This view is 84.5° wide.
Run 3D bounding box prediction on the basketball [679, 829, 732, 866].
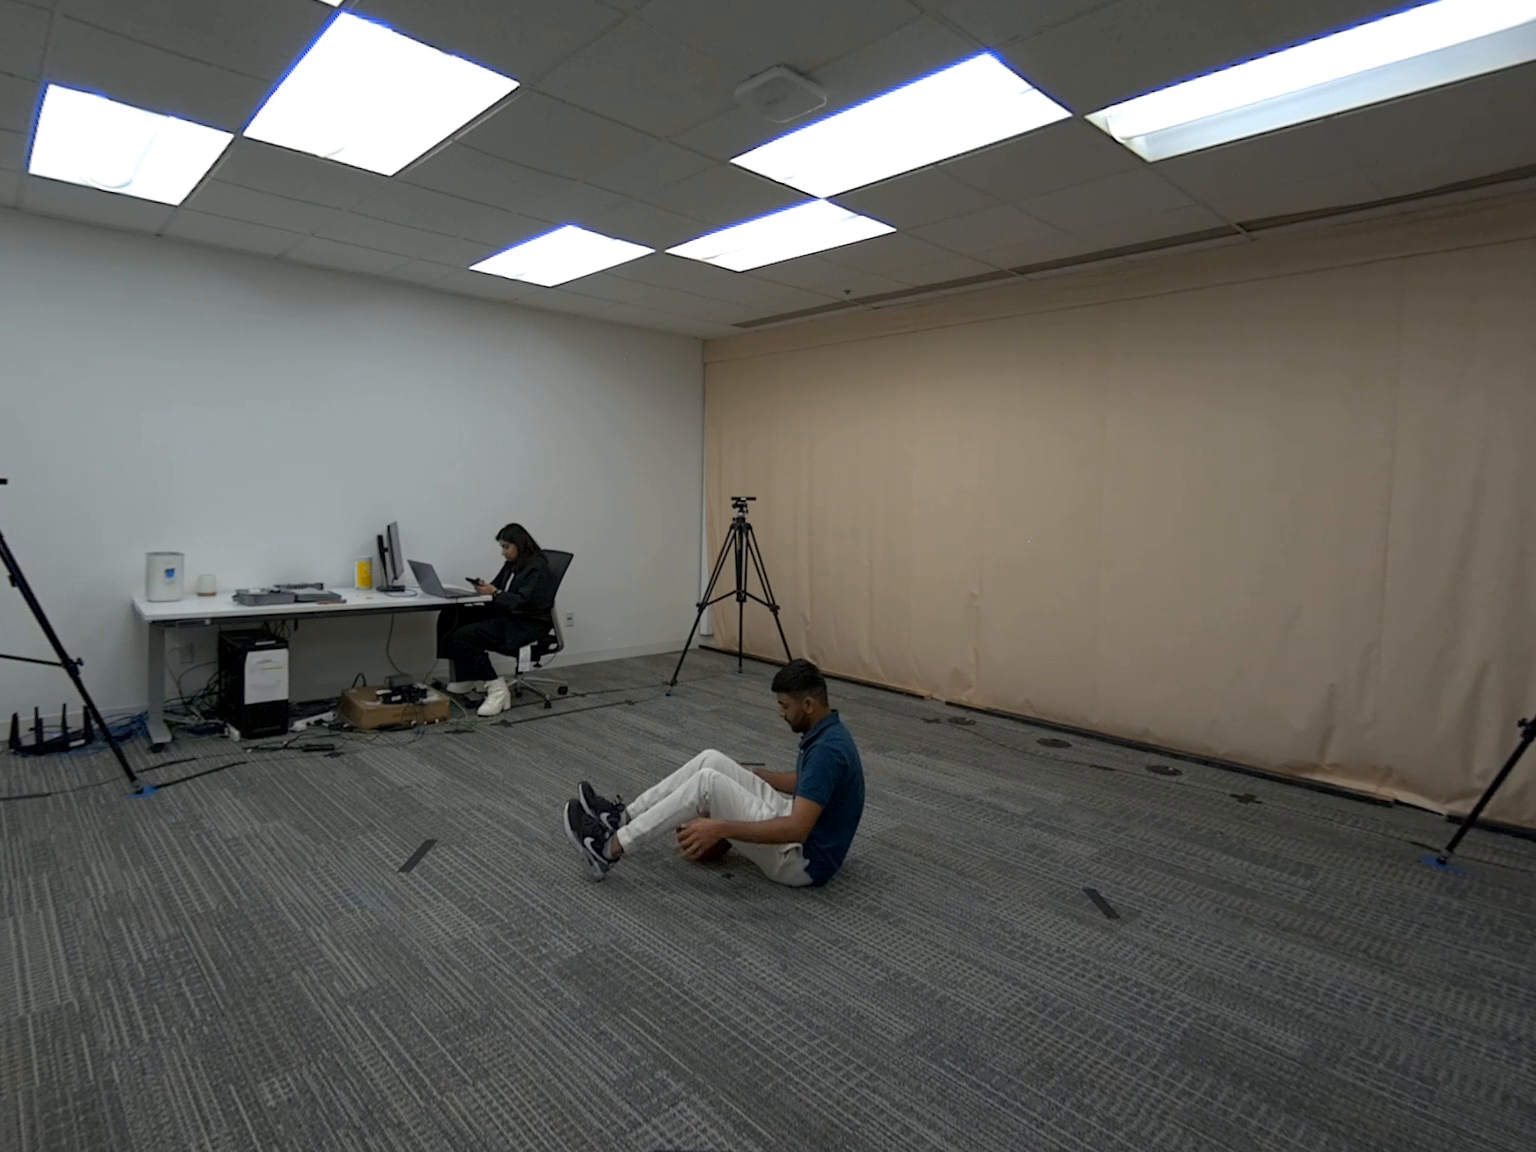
[{"bbox_3d":[-0.240,0.963,3.264,0.236,0.235,0.237,1,4,-1],"label":"basketball"}]
